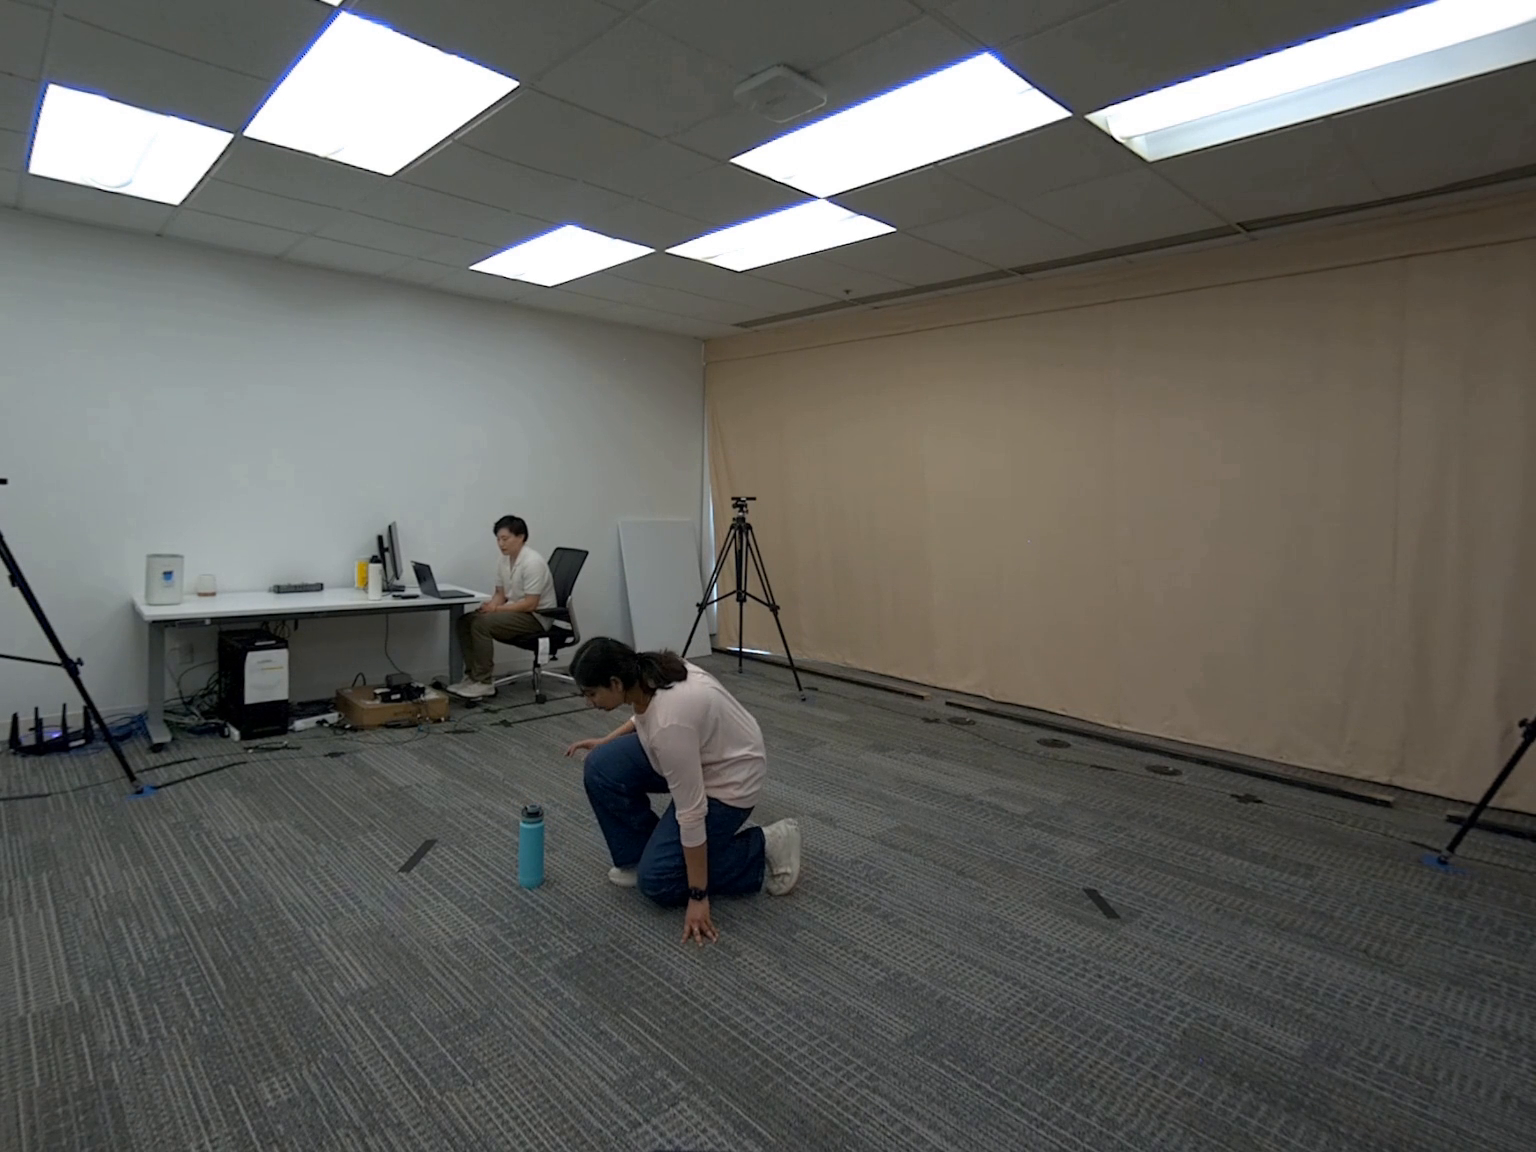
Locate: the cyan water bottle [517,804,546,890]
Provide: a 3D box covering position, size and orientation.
[{"bbox_3d":[-0.846,0.954,3.009,0.092,0.283,0.092,1,3,-1],"label":"cyan water bottle"}]
